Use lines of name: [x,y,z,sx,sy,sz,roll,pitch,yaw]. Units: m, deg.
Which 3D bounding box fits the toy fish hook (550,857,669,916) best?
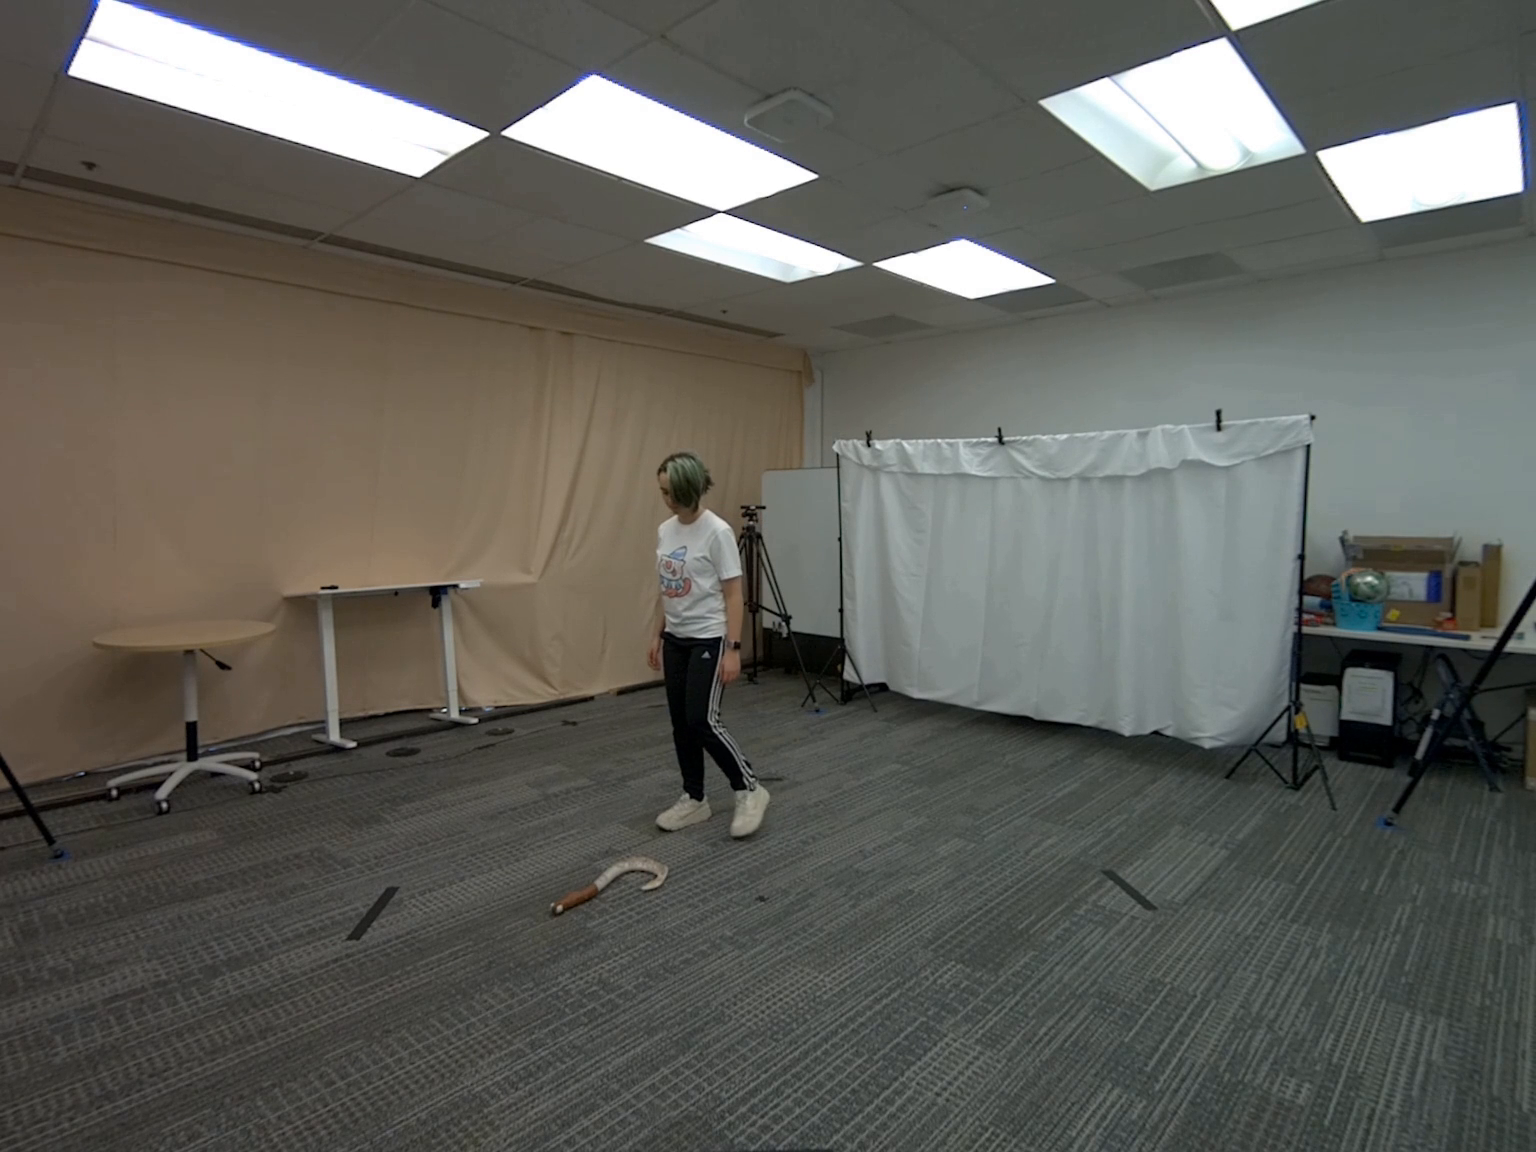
toy fish hook: [-0.556,1.122,3.036,0.231,0.048,0.492,1,5,33]
